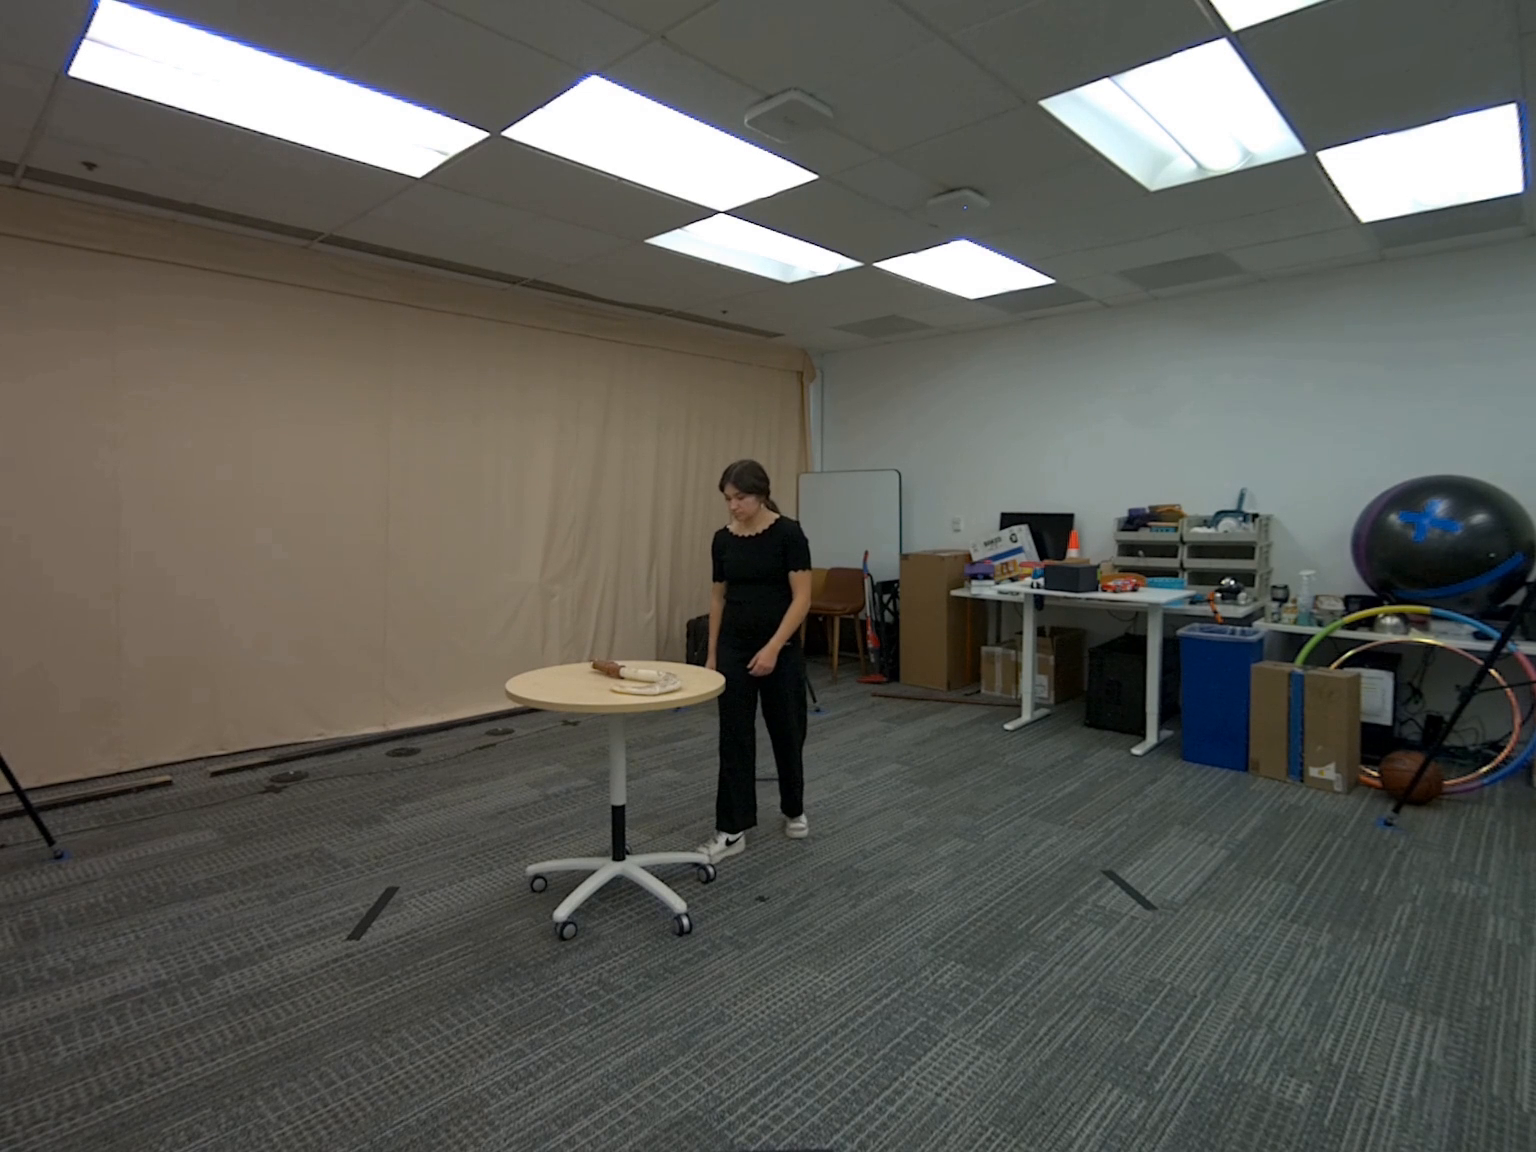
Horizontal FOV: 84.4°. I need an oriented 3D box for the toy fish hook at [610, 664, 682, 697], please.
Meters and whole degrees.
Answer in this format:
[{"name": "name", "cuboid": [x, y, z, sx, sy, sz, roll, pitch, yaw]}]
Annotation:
[{"name": "toy fish hook", "cuboid": [-0.504, 0.348, 2.909, 0.217, 0.048, 0.524, -1, 5, -43]}]
